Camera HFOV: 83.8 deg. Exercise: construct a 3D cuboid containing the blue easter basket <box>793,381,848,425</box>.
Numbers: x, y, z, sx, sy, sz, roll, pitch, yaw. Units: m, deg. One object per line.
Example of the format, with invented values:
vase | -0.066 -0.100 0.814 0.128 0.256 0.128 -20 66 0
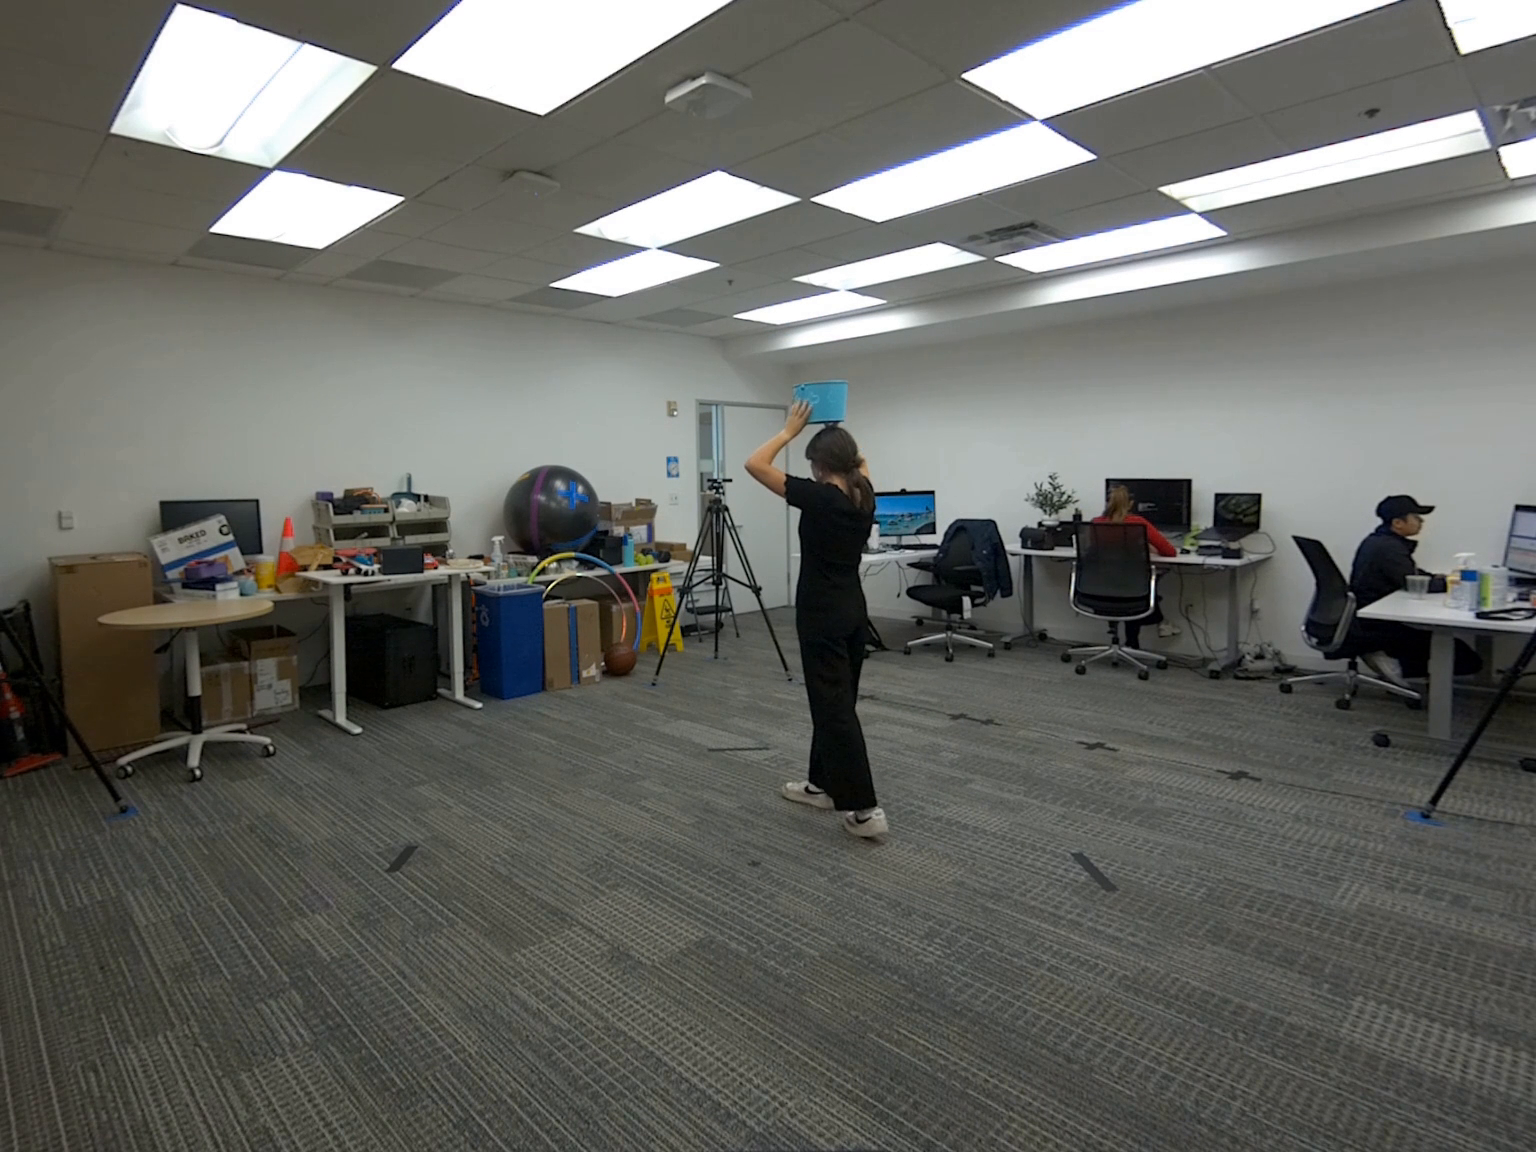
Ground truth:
blue easter basket | 0.220 -0.700 3.482 0.243 0.155 0.245 -3 6 -1
